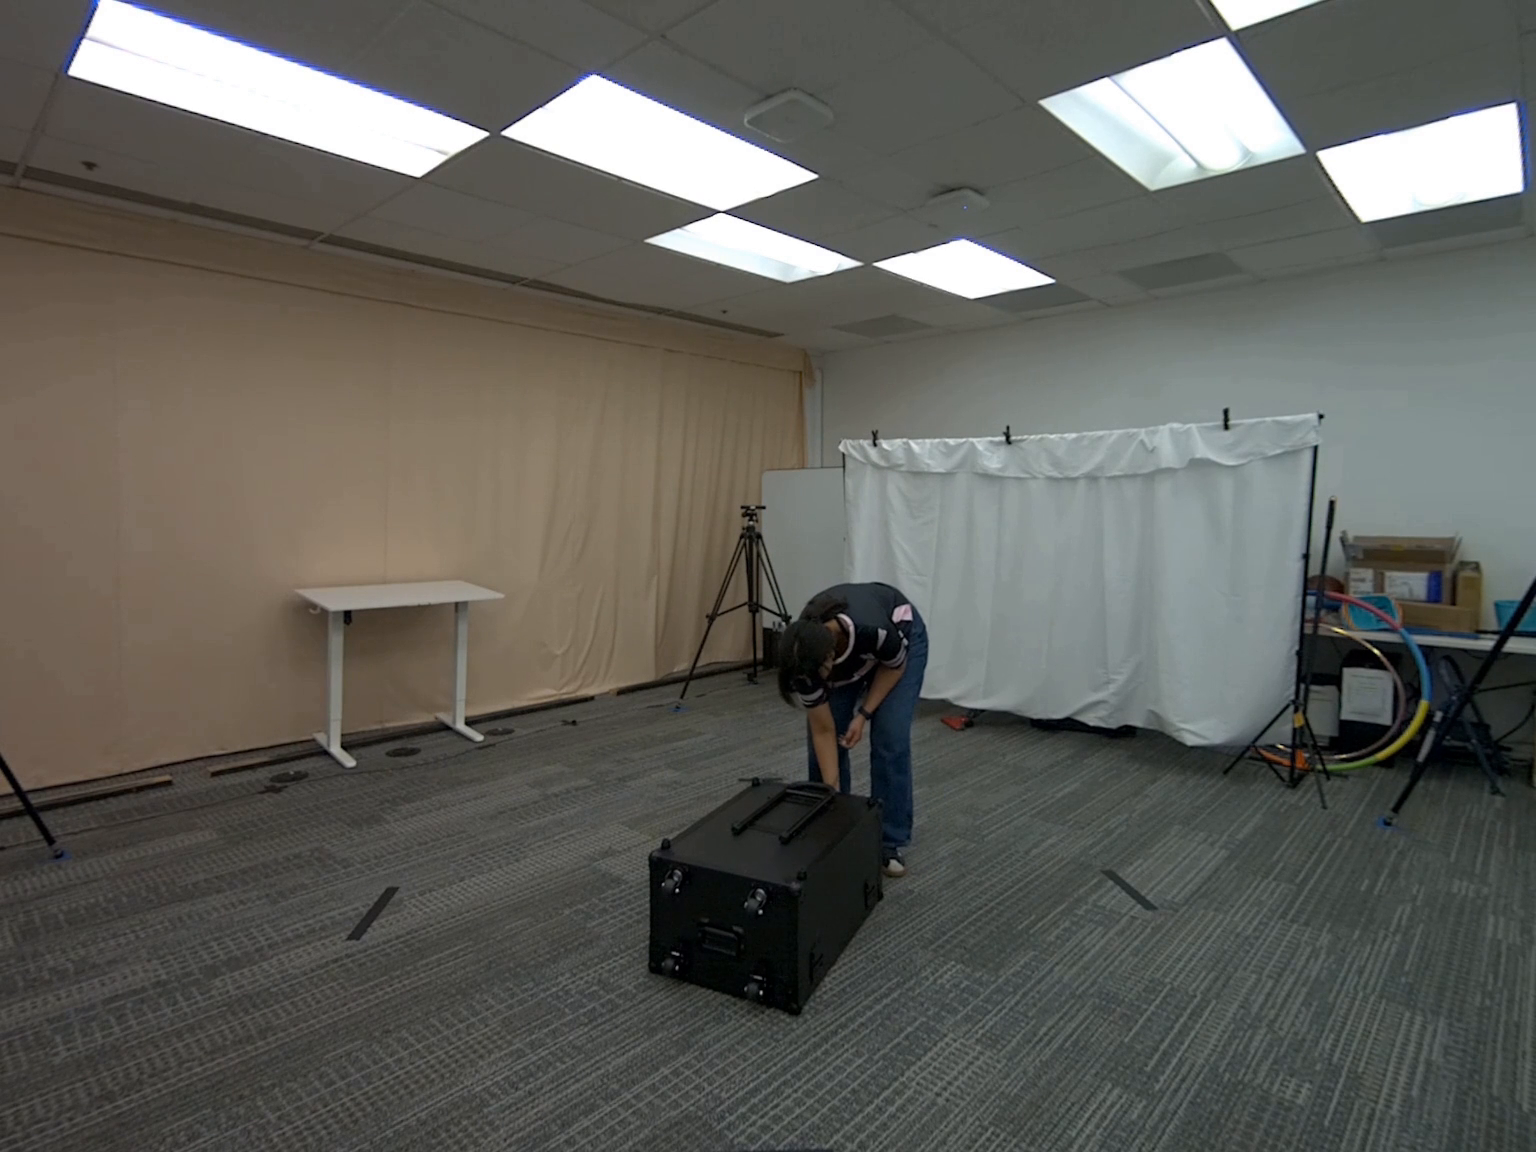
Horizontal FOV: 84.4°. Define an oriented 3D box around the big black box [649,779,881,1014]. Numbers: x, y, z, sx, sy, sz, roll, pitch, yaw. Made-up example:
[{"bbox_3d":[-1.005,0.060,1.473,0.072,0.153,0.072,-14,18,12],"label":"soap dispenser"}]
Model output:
[{"bbox_3d":[0.012,0.971,2.700,0.535,0.395,0.842,2,6,25],"label":"big black box"}]
